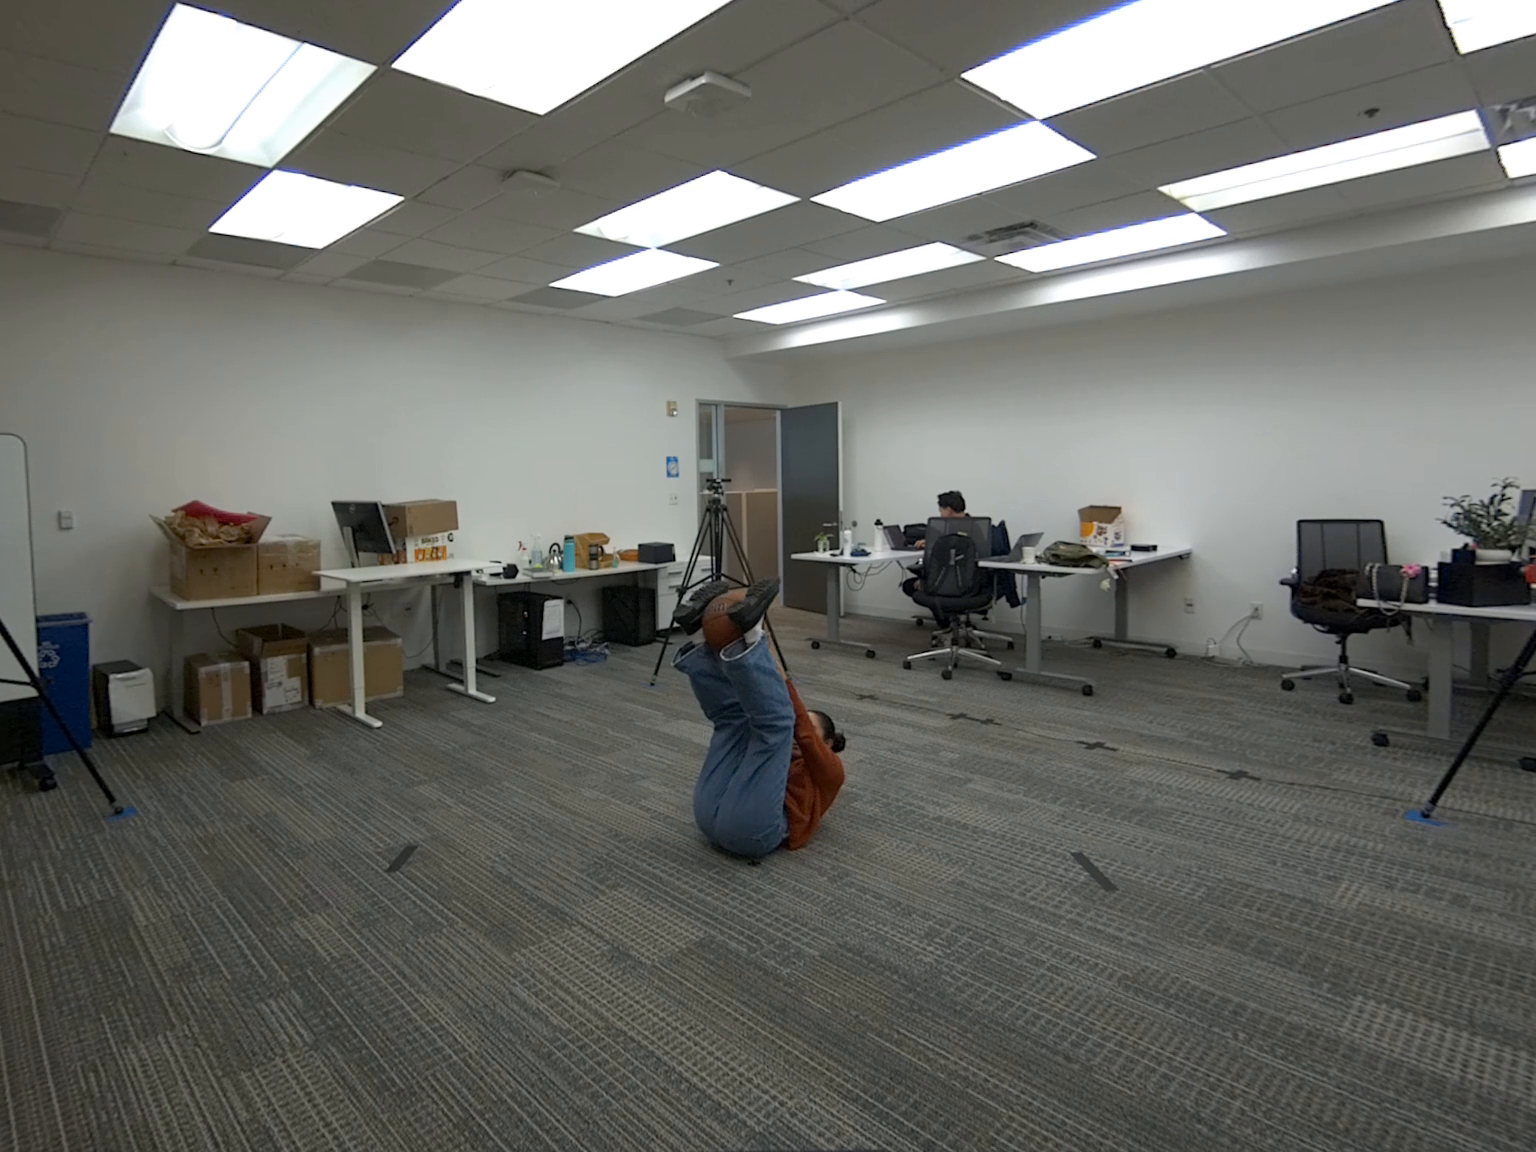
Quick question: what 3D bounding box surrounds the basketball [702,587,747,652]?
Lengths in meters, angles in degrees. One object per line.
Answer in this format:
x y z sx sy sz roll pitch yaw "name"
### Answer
-0.133 0.181 3.211 0.236 0.236 0.236 0 1 -2 "basketball"
